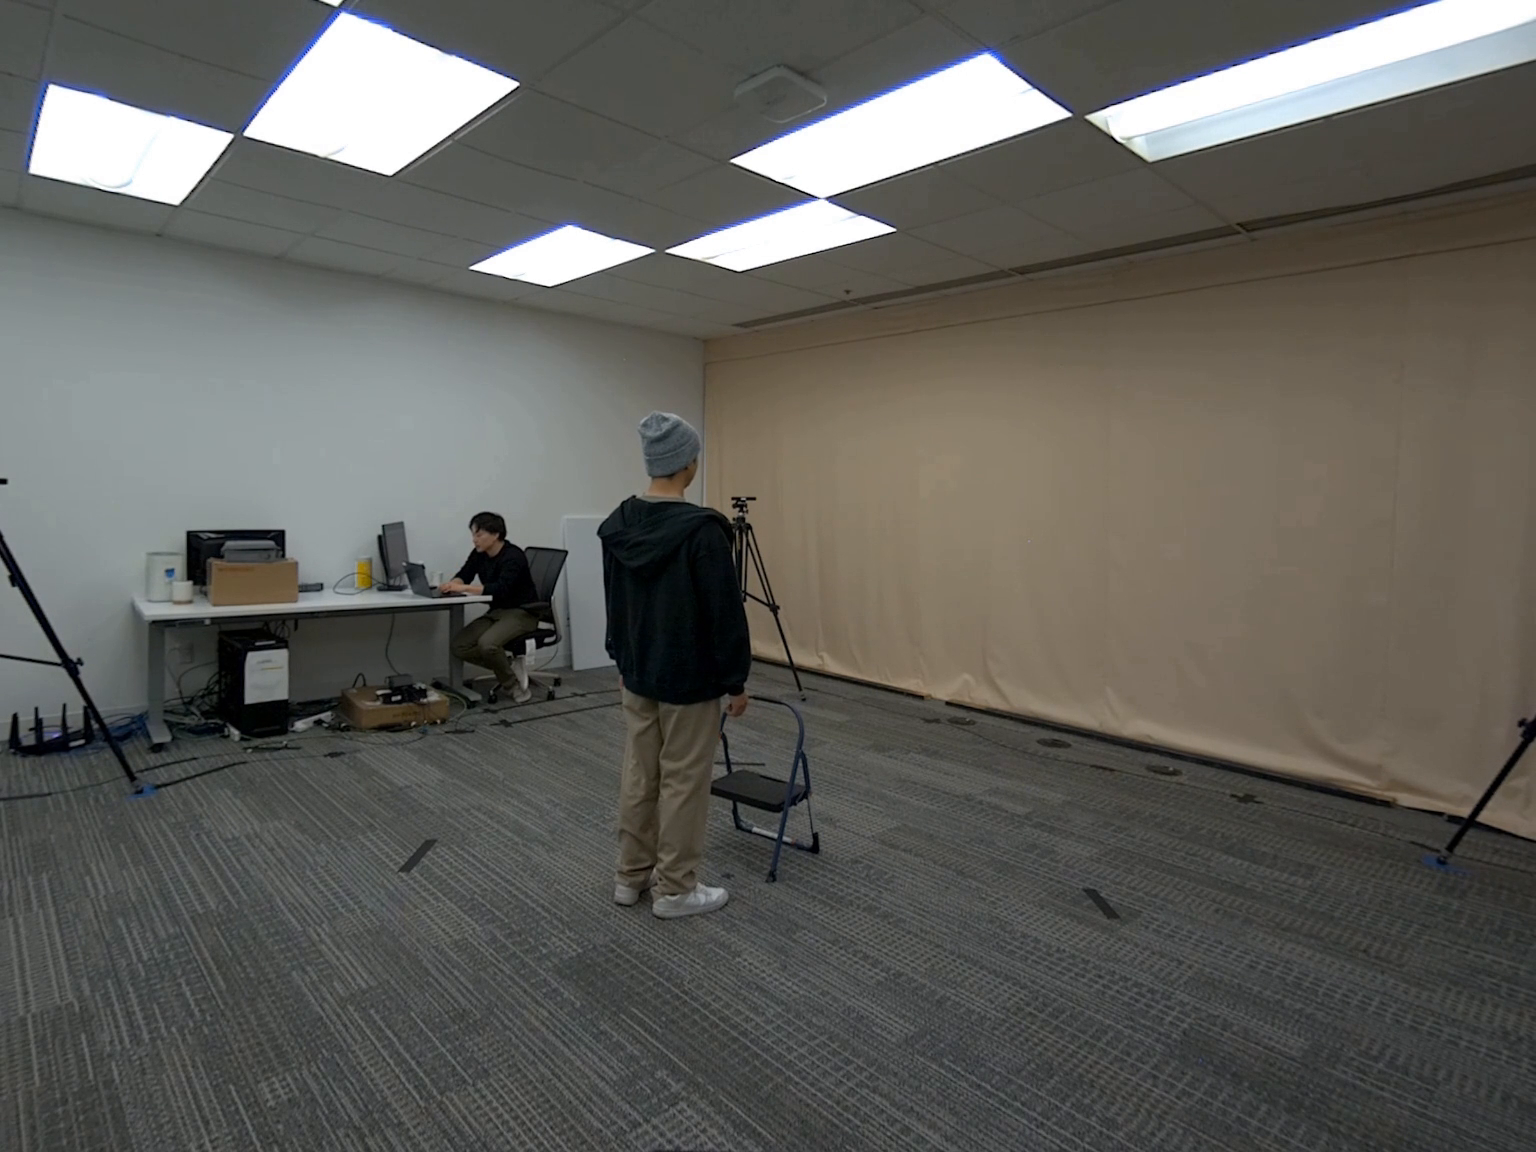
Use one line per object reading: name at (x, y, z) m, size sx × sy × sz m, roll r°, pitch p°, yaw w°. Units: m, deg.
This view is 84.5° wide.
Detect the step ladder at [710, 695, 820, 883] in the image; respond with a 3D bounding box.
step ladder at (-0.054, 0.788, 3.305) m, size 0.441 × 0.604 × 0.342 m, roll 4°, pitch 4°, yaw 36°
